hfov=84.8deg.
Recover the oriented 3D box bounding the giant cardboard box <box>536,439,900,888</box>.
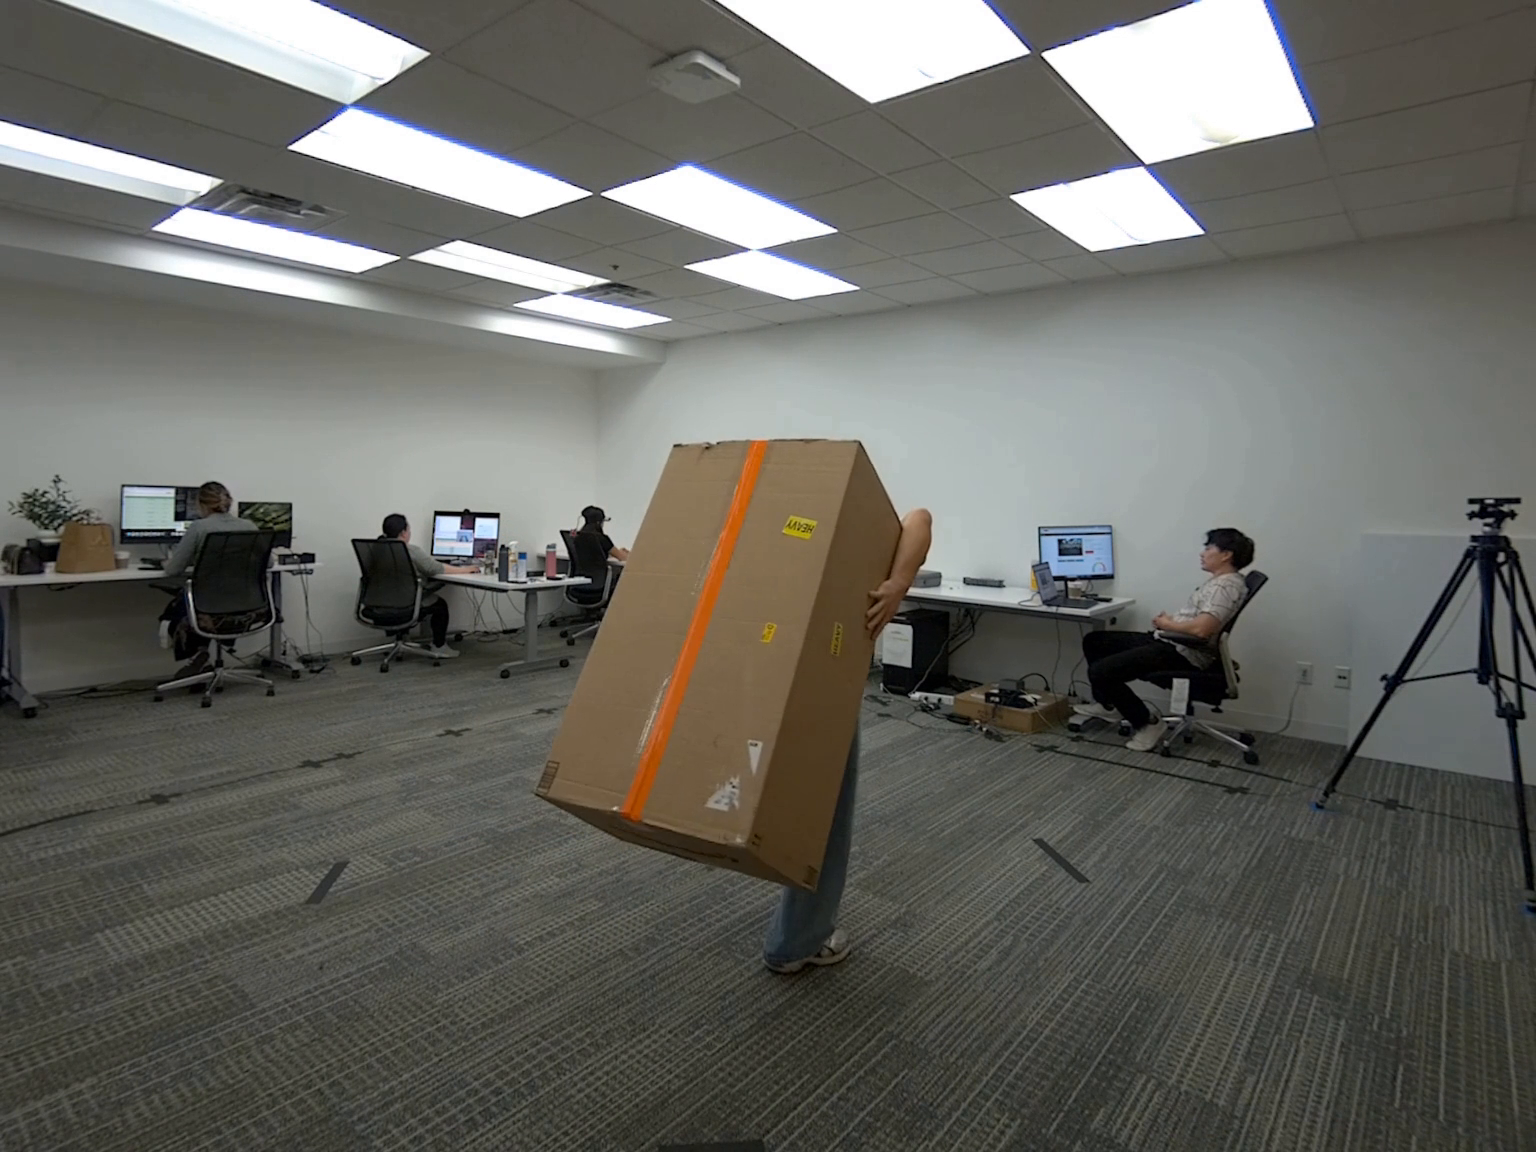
[{"bbox_3d":[-0.094,0.189,2.221,0.594,1.040,0.408,2,-29,29],"label":"giant cardboard box"}]
